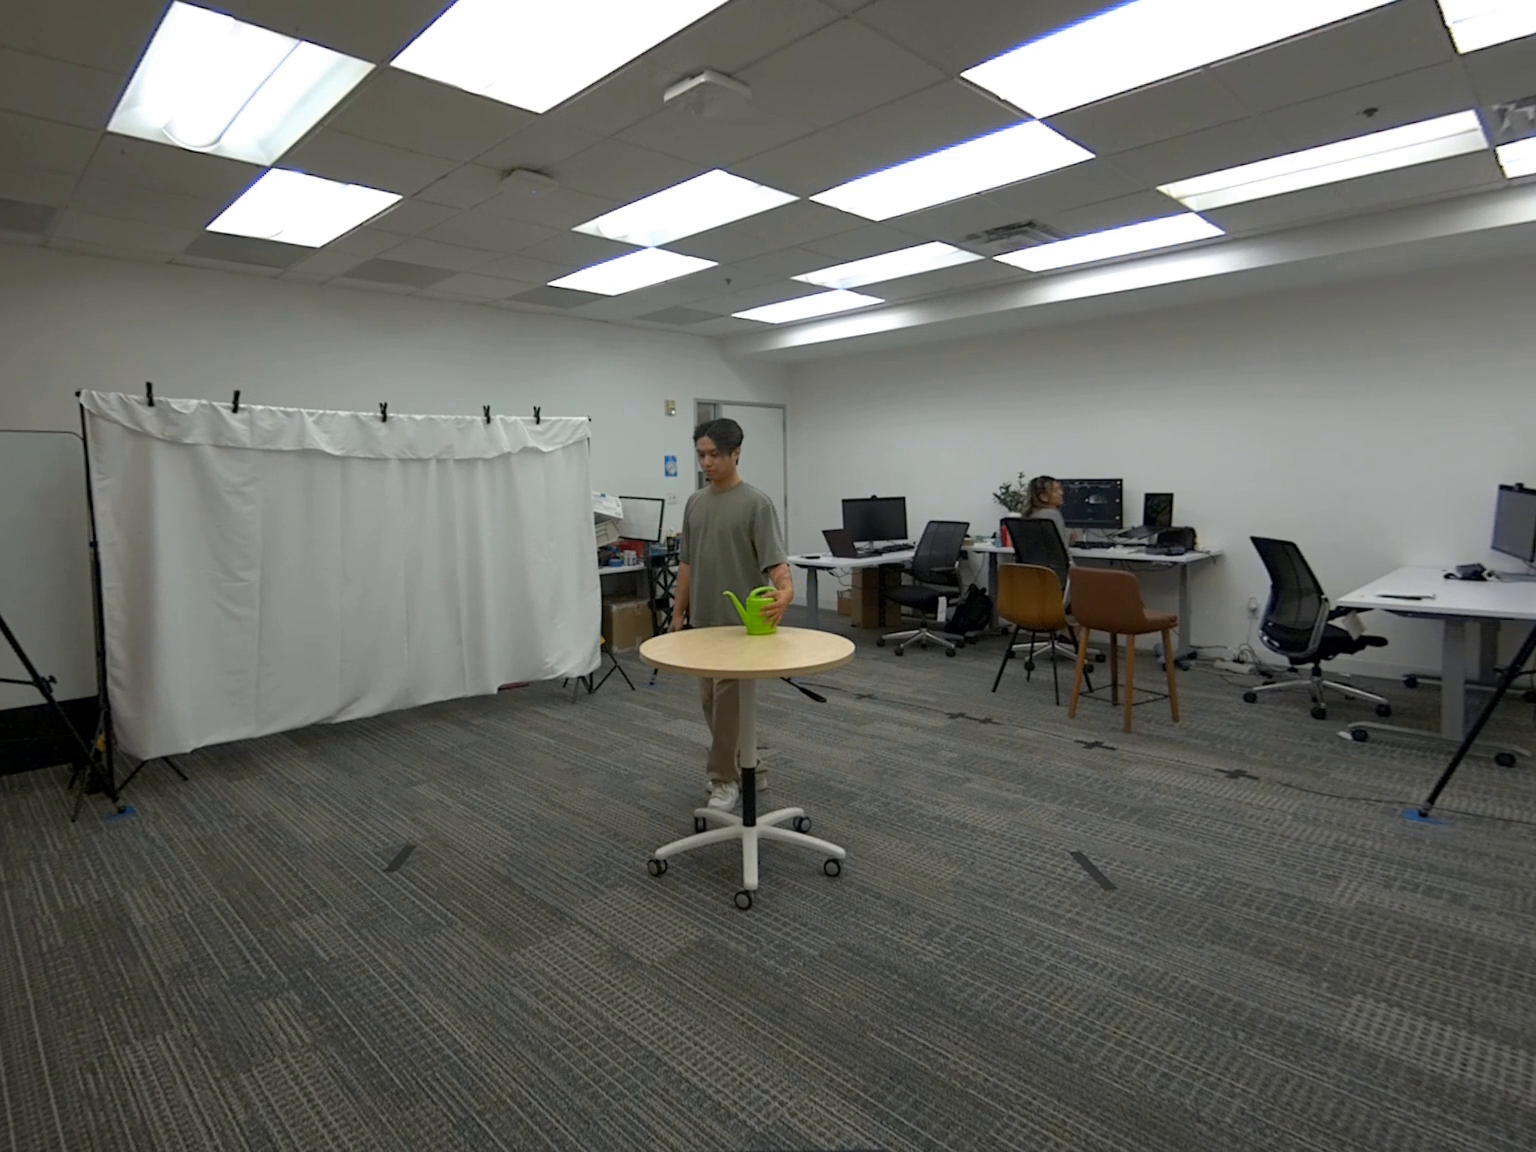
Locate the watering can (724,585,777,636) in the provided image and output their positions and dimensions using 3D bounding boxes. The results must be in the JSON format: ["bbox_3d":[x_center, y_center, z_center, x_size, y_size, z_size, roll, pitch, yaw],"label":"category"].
[{"bbox_3d":[-0.067,0.138,3.276,0.272,0.176,0.100,-2,4,-29],"label":"watering can"}]
